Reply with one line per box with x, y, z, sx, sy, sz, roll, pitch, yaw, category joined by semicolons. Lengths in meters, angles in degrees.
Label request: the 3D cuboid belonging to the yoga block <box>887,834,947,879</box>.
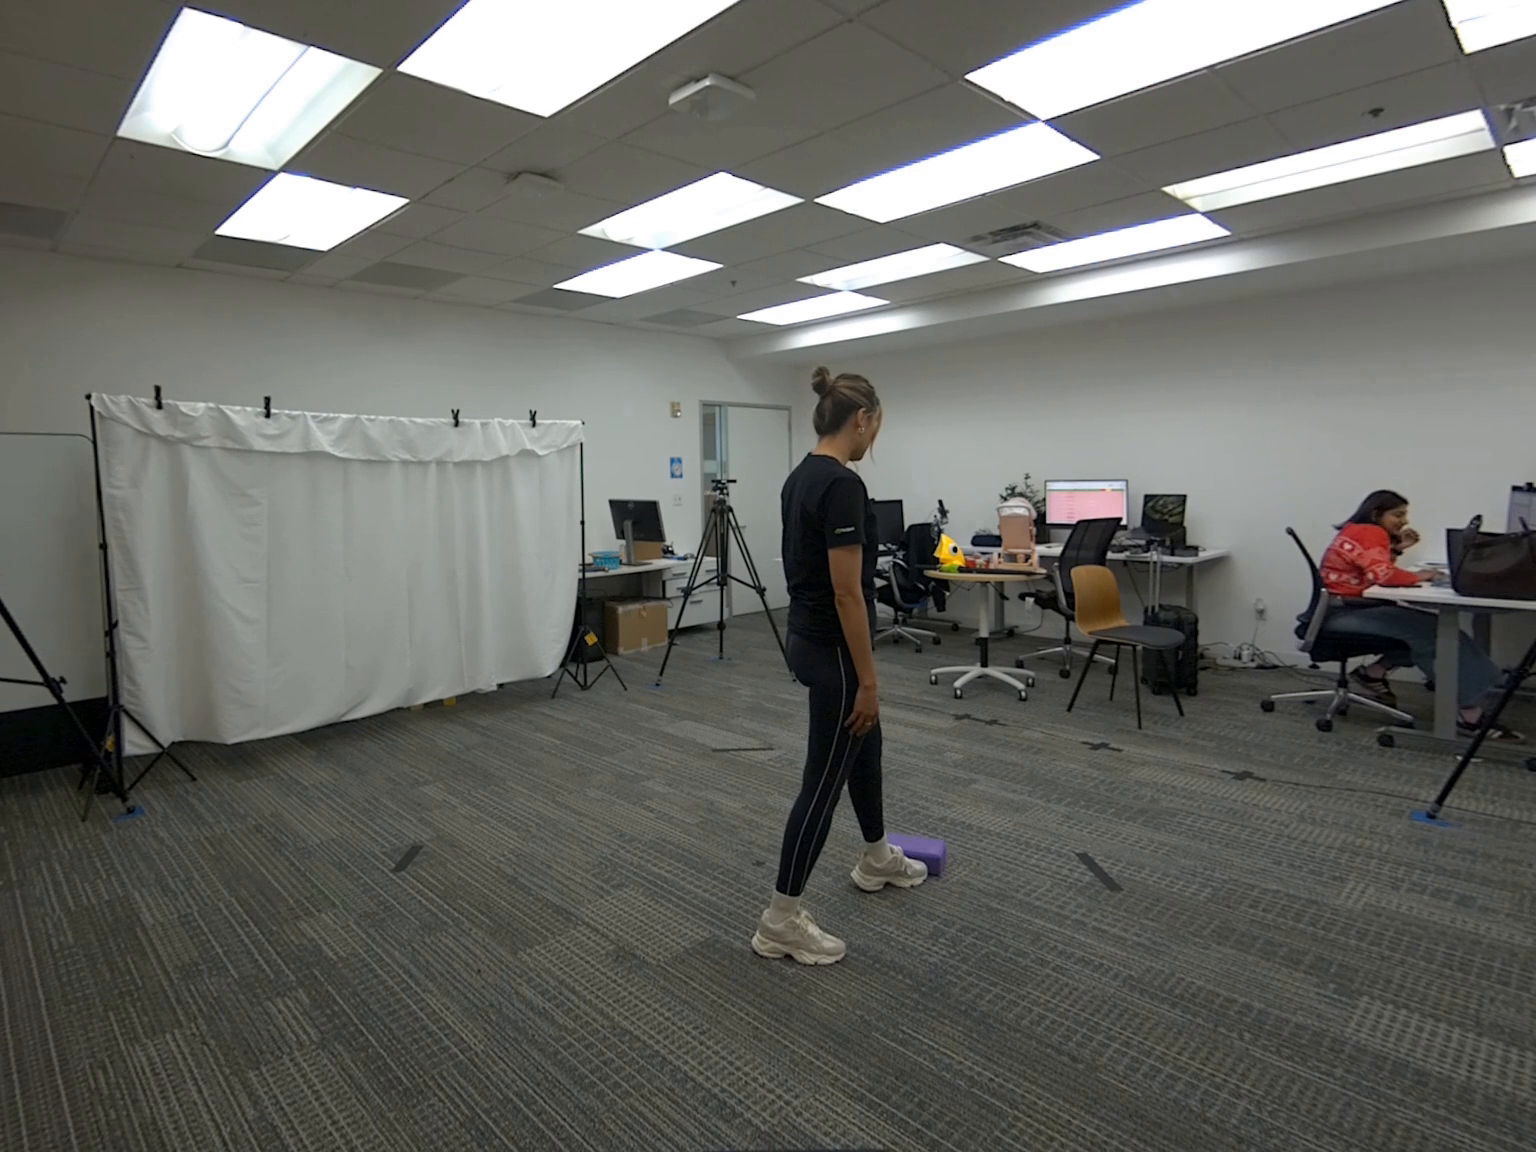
0.519;0.996;3.071;0.234;0.076;0.147;0;8;22;yoga block
